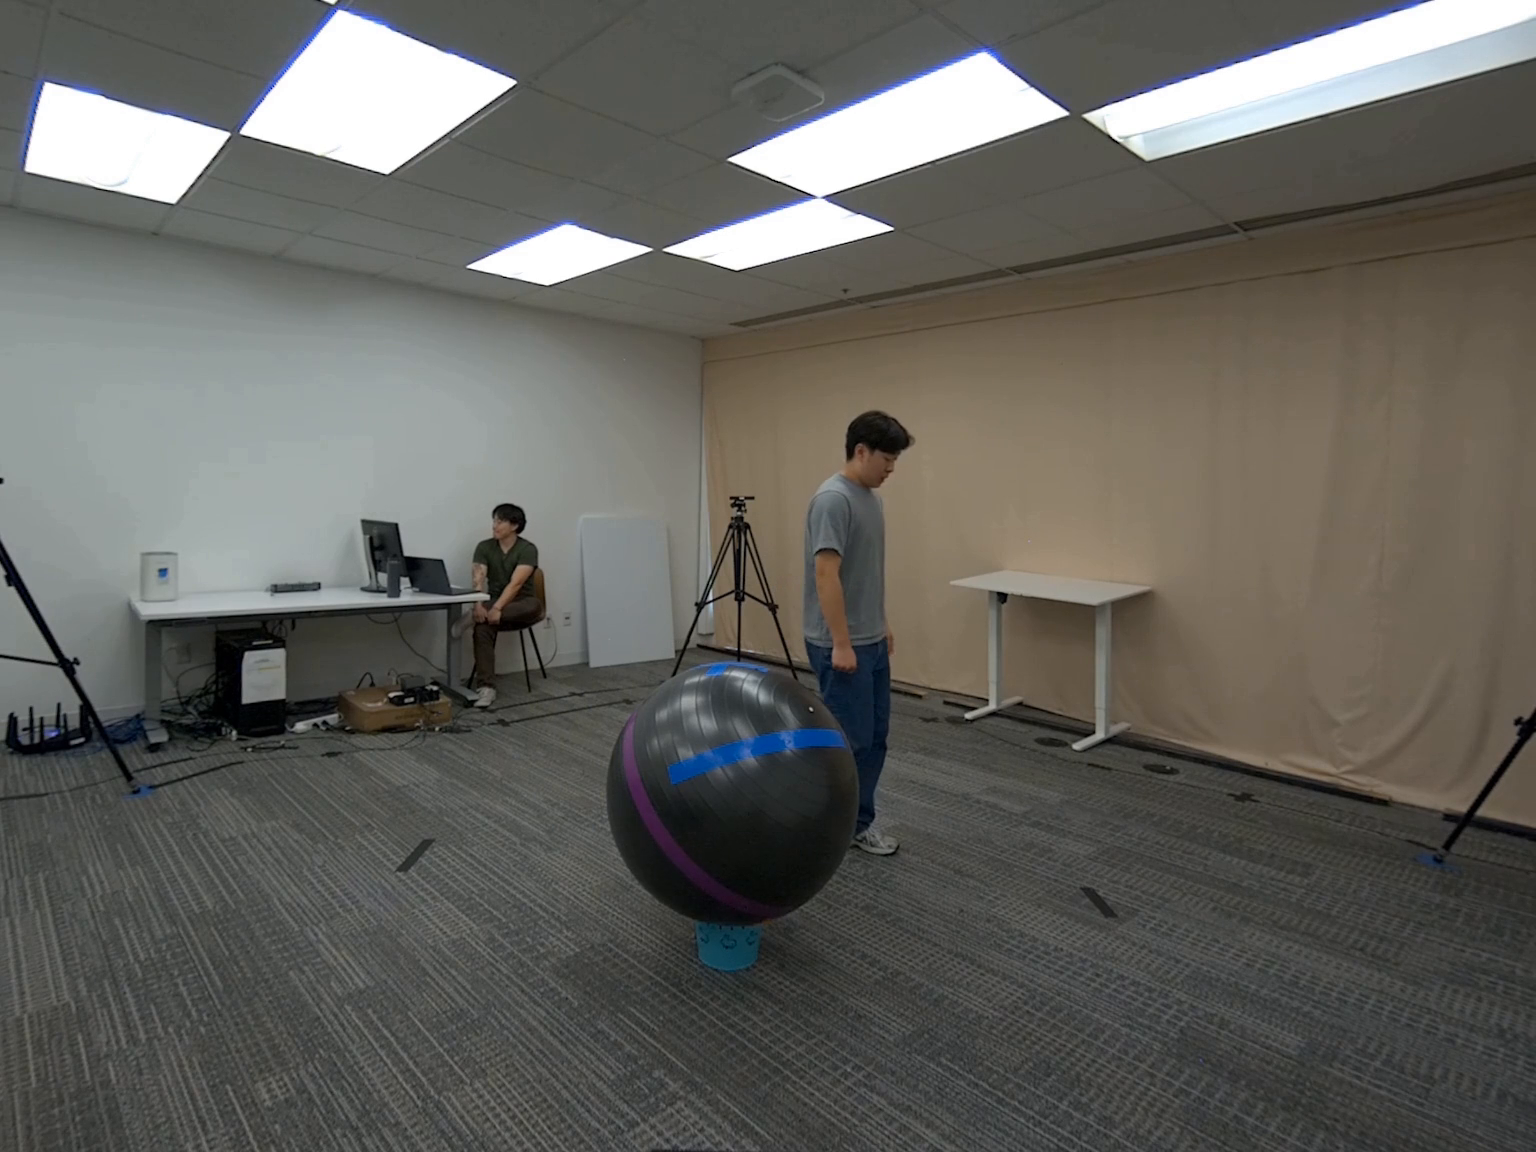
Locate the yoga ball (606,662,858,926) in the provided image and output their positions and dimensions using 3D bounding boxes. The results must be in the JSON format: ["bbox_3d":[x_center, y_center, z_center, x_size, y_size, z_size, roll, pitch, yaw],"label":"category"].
[{"bbox_3d":[-0.111,0.651,2.541,0.757,0.756,0.761,1,4,-1],"label":"yoga ball"}]
